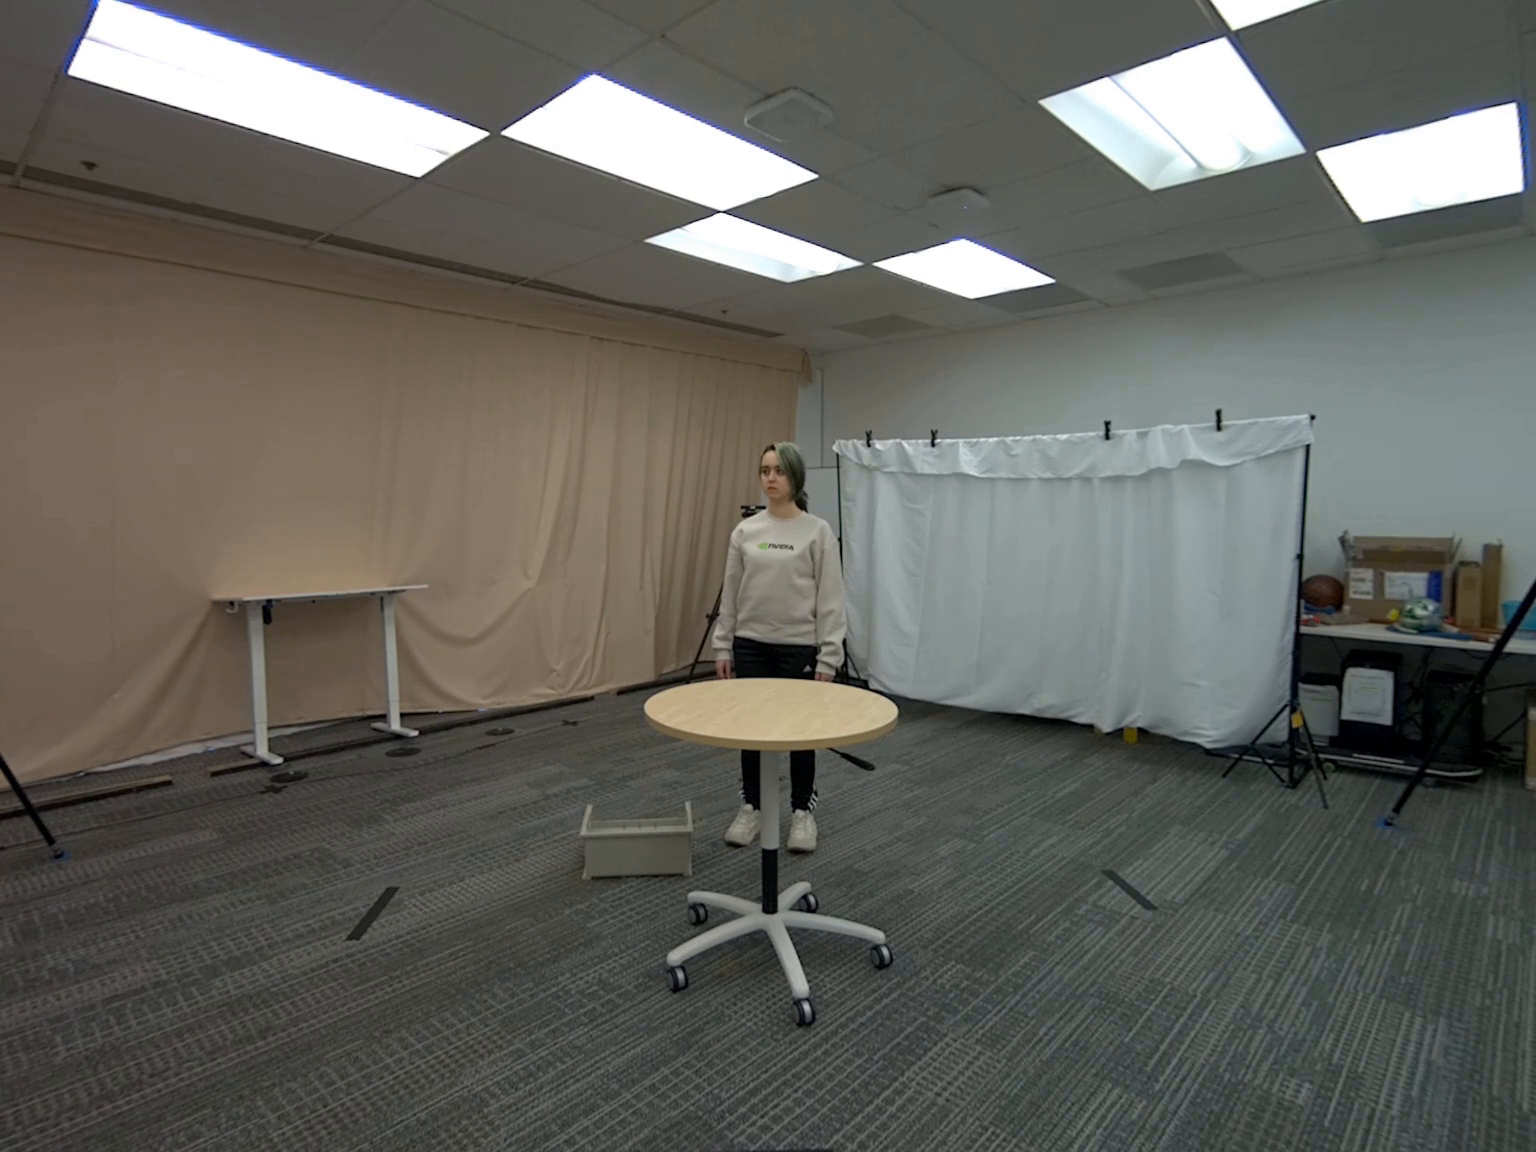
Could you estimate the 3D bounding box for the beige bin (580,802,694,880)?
[{"bbox_3d":[-0.515,1.034,3.328,0.420,0.188,0.380,-1,5,-6],"label":"beige bin"}]
